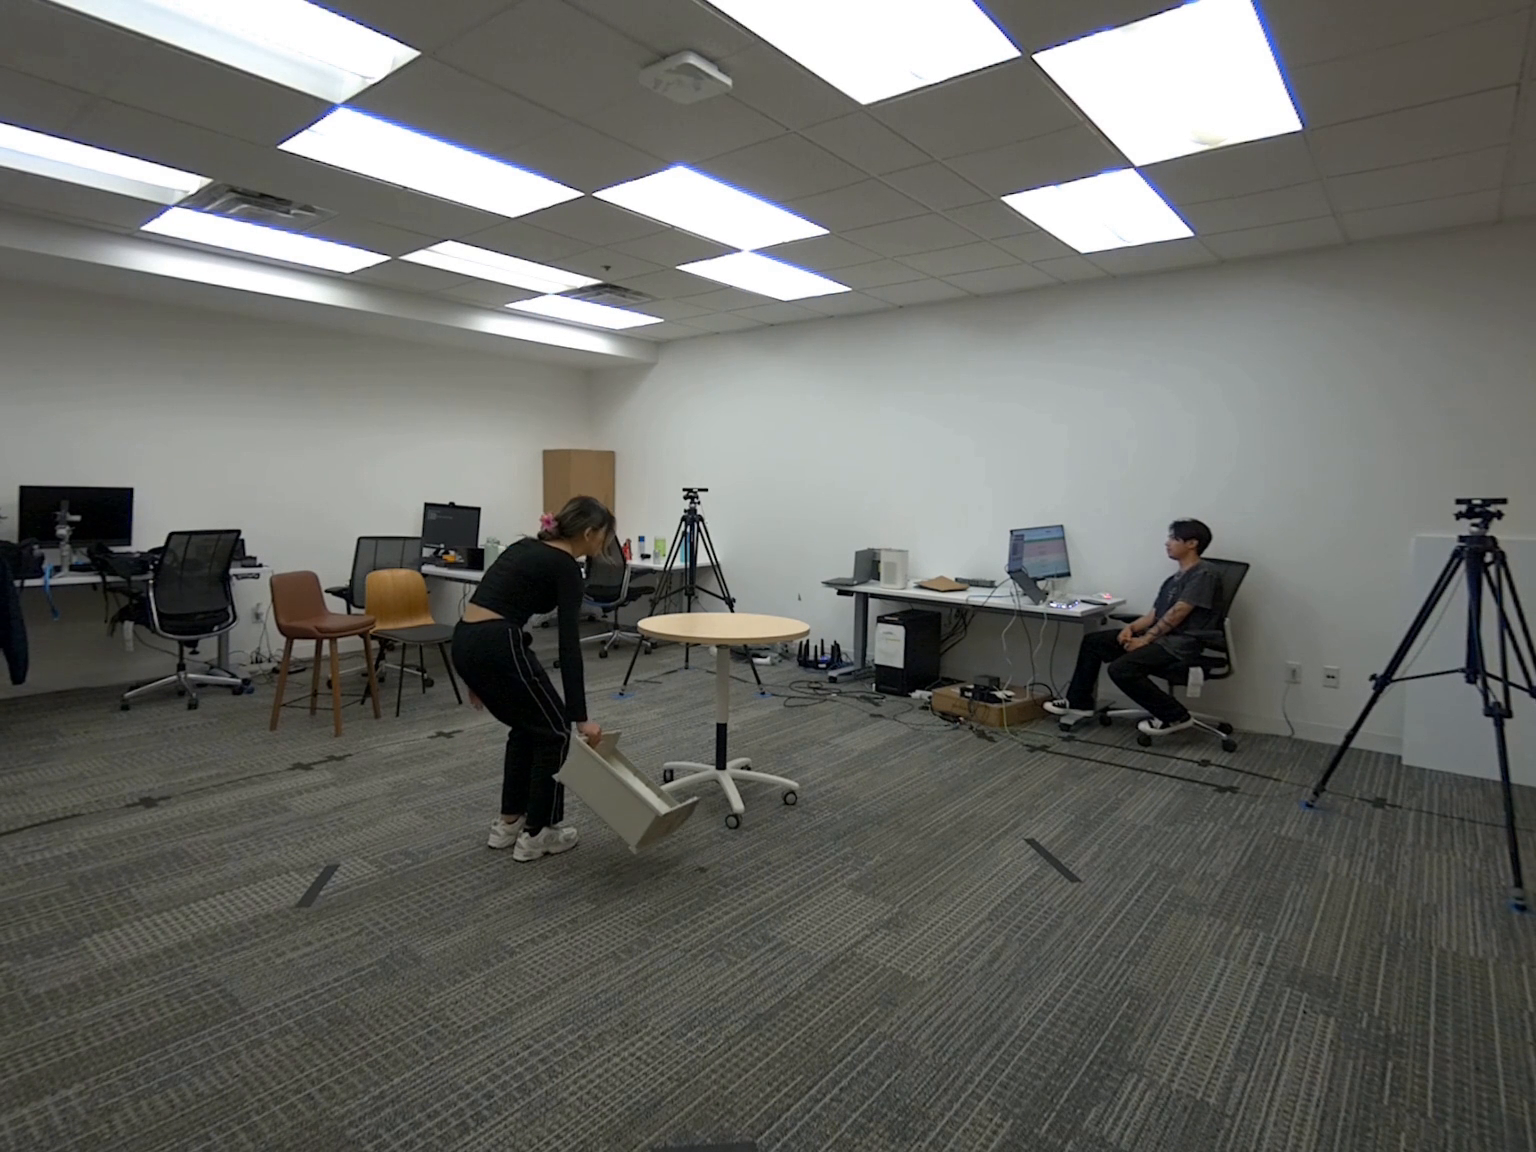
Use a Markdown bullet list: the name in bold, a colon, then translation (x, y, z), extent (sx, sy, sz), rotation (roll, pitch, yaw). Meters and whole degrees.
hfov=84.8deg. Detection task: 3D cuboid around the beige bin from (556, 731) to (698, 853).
- **beige bin**: translation (-0.511, 0.760, 3.093), extent (0.434, 0.188, 0.368), rotation (35, 8, 19)
